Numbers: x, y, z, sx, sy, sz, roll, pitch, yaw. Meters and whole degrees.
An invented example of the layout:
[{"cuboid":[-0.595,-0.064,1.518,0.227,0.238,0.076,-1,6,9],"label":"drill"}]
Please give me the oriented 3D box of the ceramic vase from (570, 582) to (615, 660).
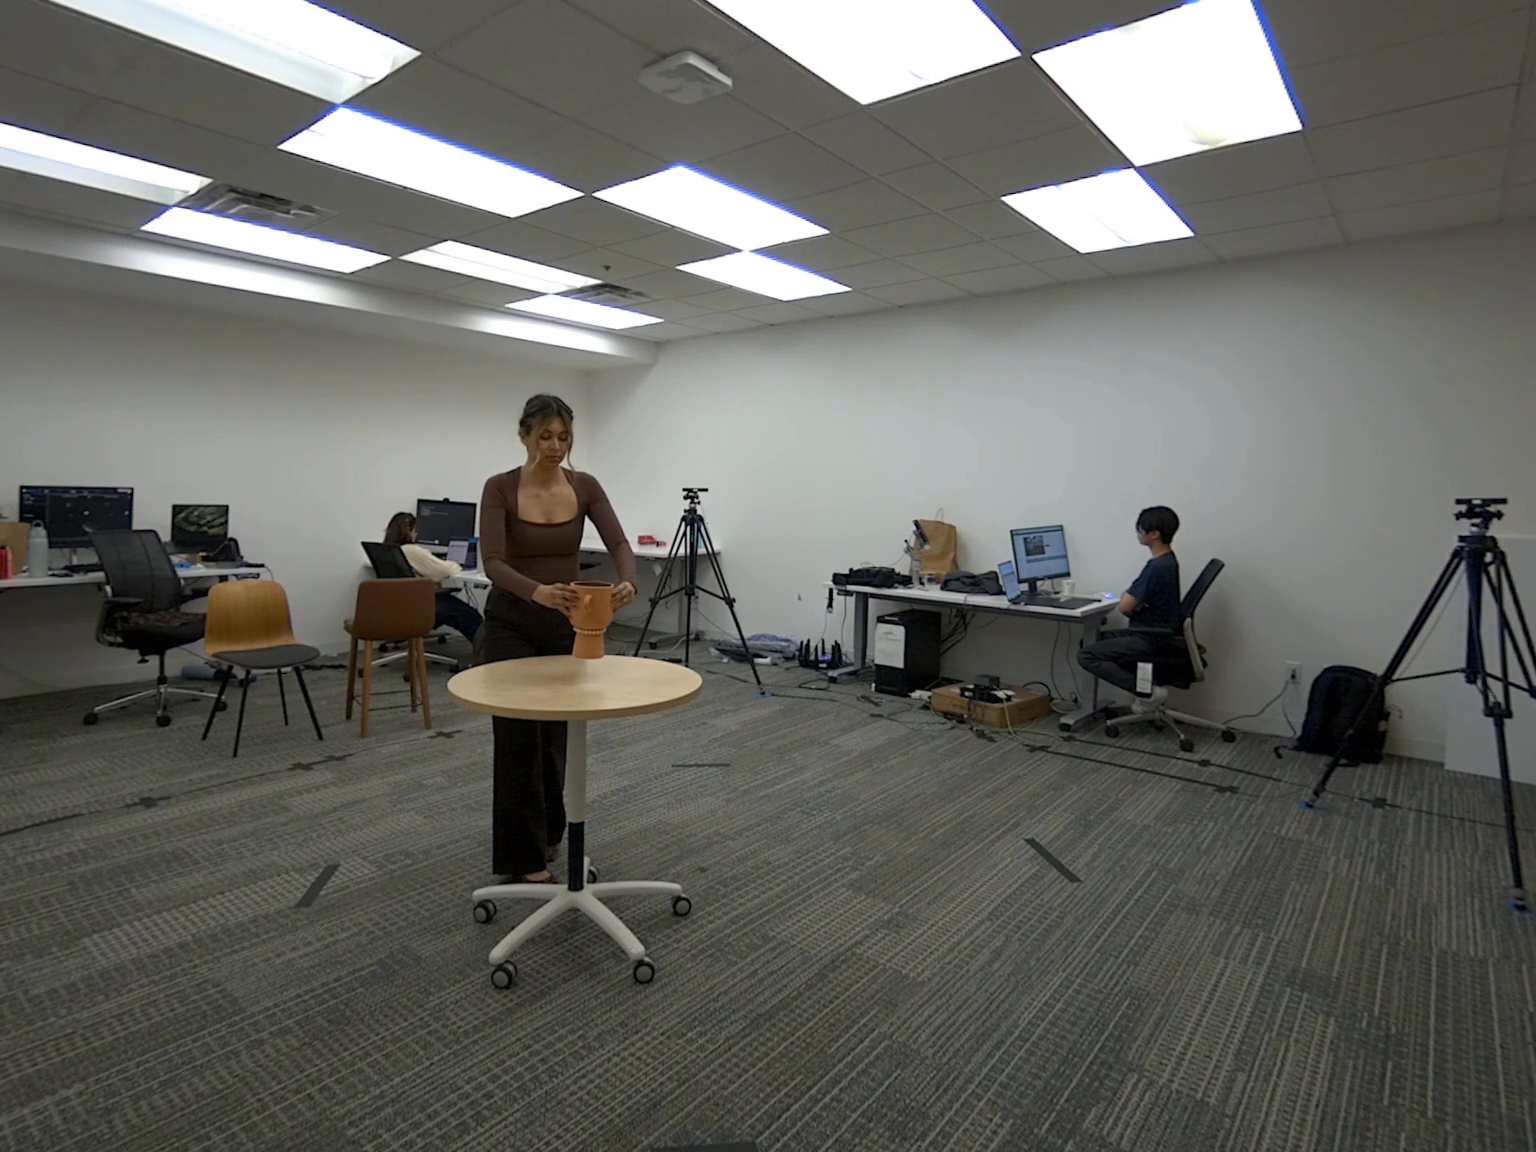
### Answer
[{"cuboid":[-0.551,0.133,2.572,0.139,0.219,0.154,8,6,36],"label":"ceramic vase"}]
